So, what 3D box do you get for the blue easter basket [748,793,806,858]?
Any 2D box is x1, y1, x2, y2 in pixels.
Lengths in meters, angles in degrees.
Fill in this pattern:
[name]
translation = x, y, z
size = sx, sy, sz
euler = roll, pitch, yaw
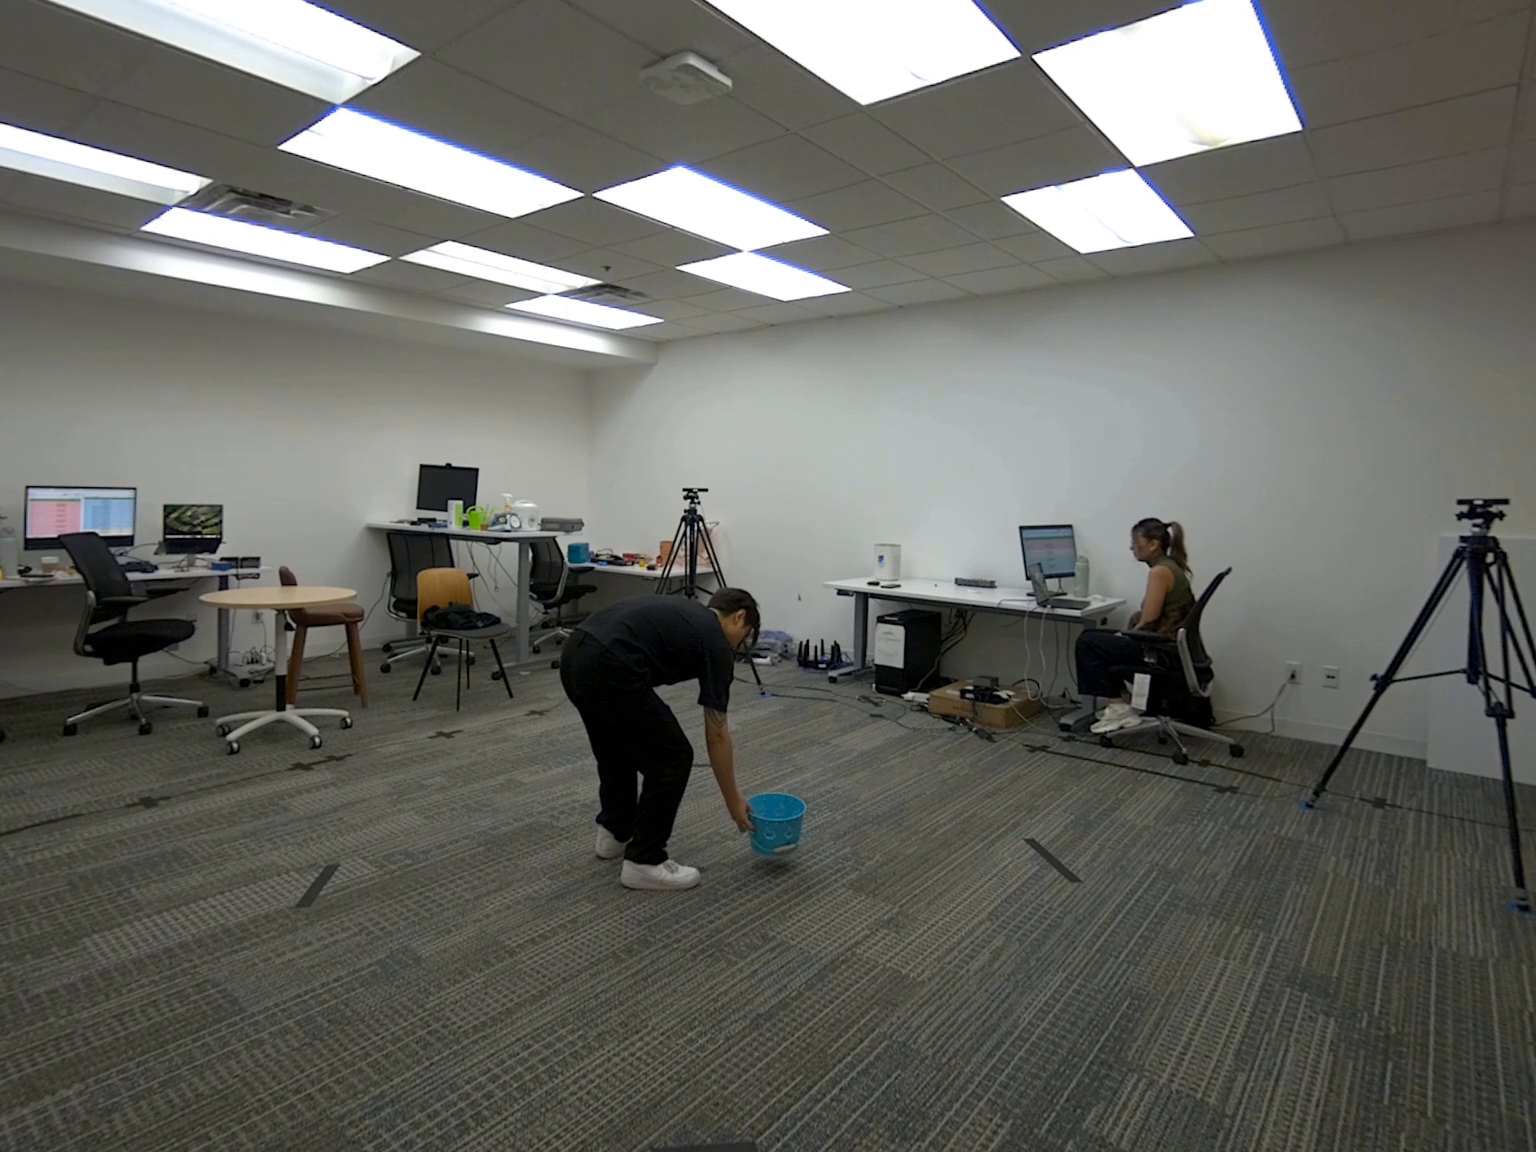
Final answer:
[blue easter basket]
translation = 0.014, 0.926, 3.149
size = 0.243, 0.155, 0.246
euler = 0, 8, -2
